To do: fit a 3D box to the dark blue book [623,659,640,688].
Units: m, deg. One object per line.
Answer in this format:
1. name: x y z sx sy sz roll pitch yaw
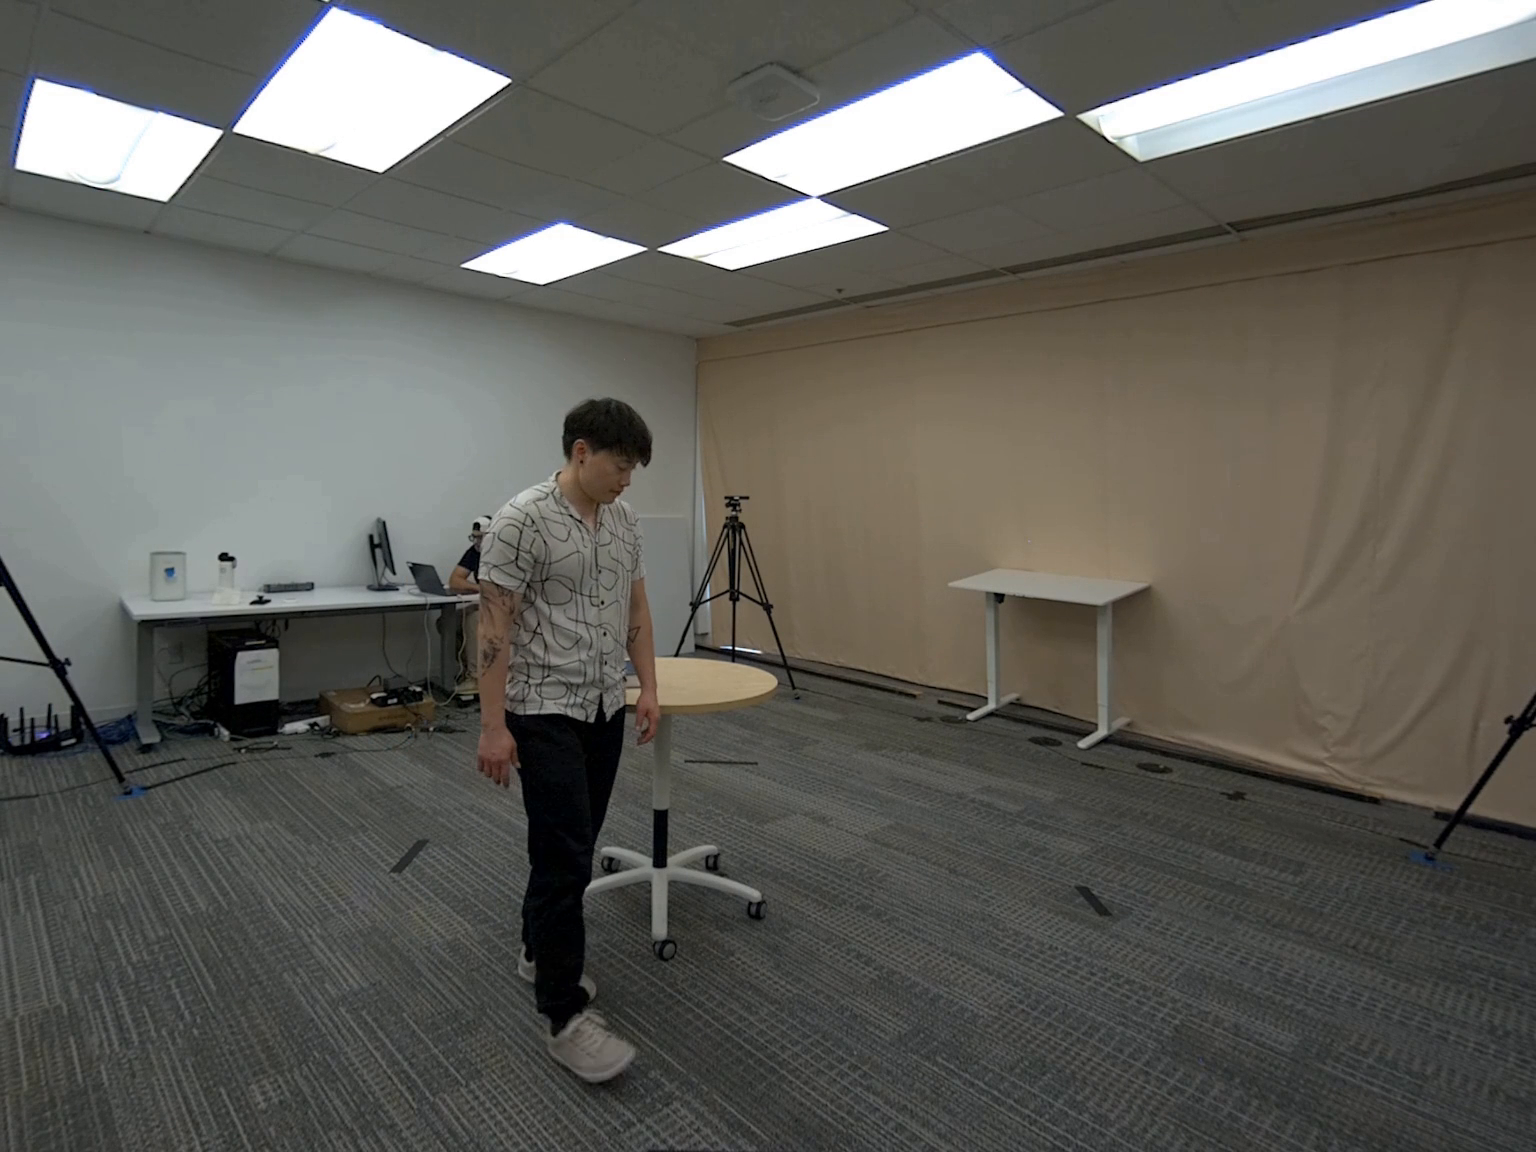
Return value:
1. dark blue book: -0.505 0.326 2.761 0.161 0.045 0.249 0 5 -17
